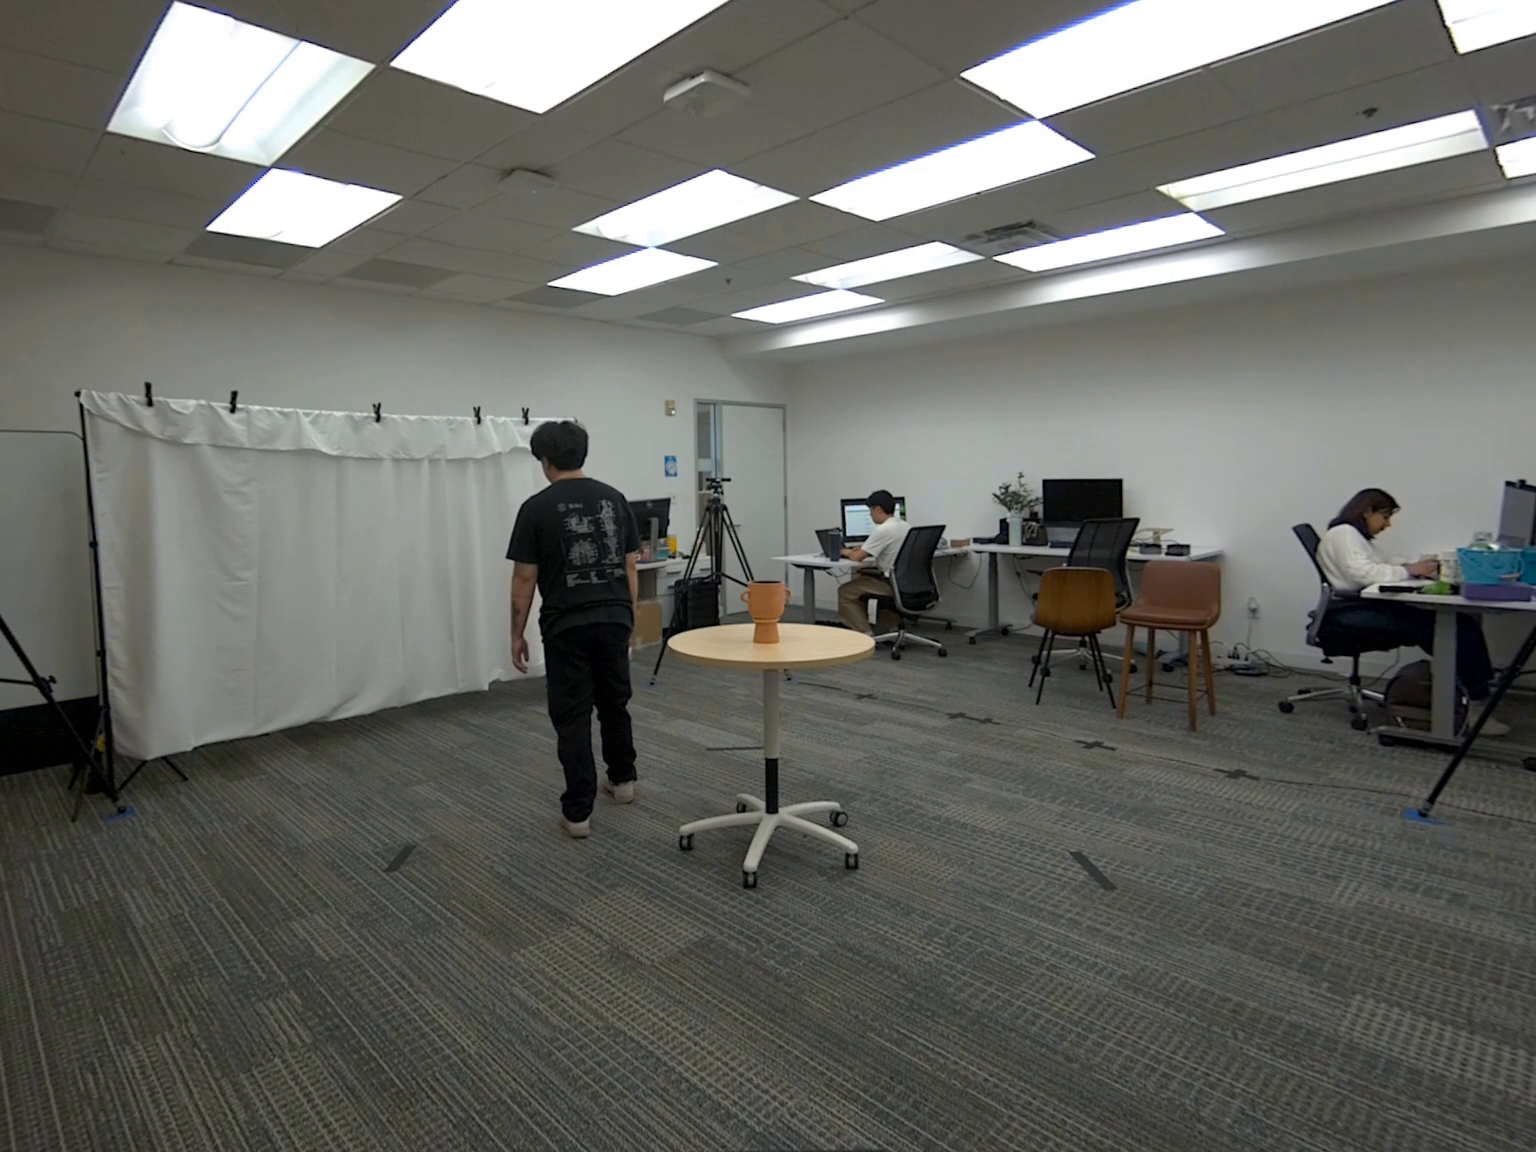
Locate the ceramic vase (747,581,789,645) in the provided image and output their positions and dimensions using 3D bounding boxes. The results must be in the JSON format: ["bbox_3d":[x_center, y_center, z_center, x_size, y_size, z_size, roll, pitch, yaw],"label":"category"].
[{"bbox_3d":[-0.005,0.132,3.155,0.162,0.219,0.133,1,4,18],"label":"ceramic vase"}]
